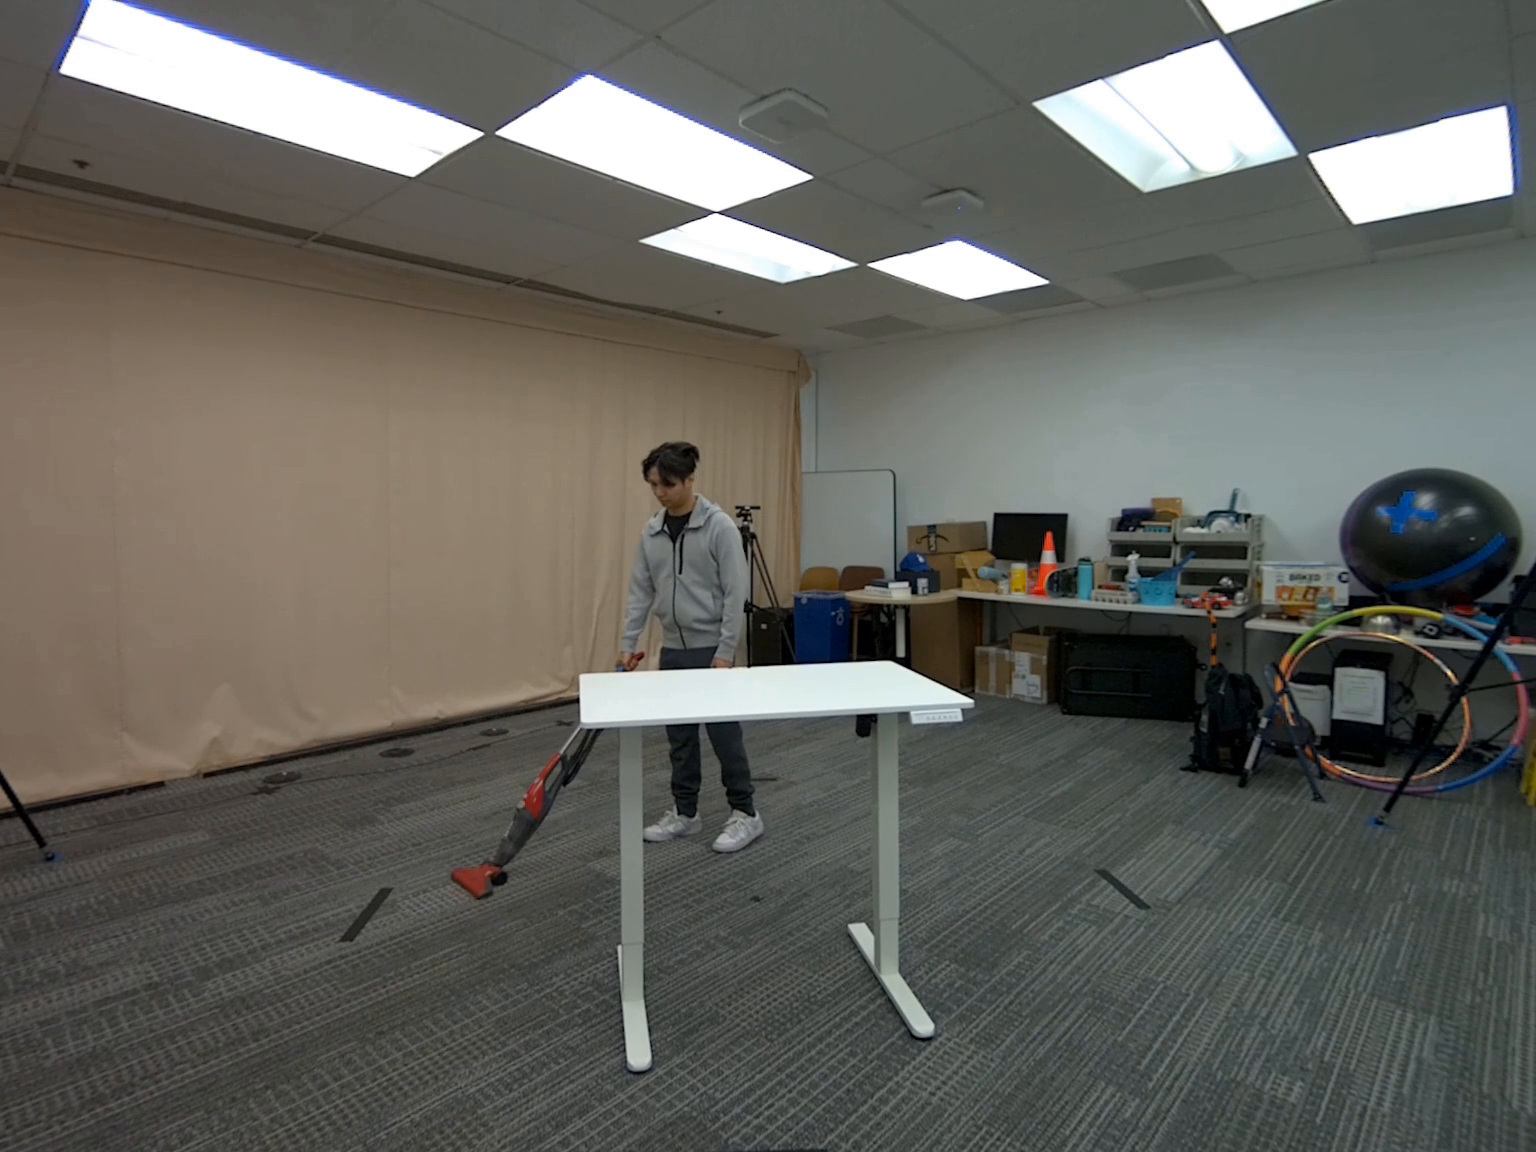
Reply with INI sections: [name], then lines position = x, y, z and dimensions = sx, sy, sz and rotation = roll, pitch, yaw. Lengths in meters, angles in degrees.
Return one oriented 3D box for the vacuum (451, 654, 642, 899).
[vacuum]
position = -0.792, 0.745, 3.347
dimensions = 0.261, 1.046, 0.139
rotation = 6, -37, 46
